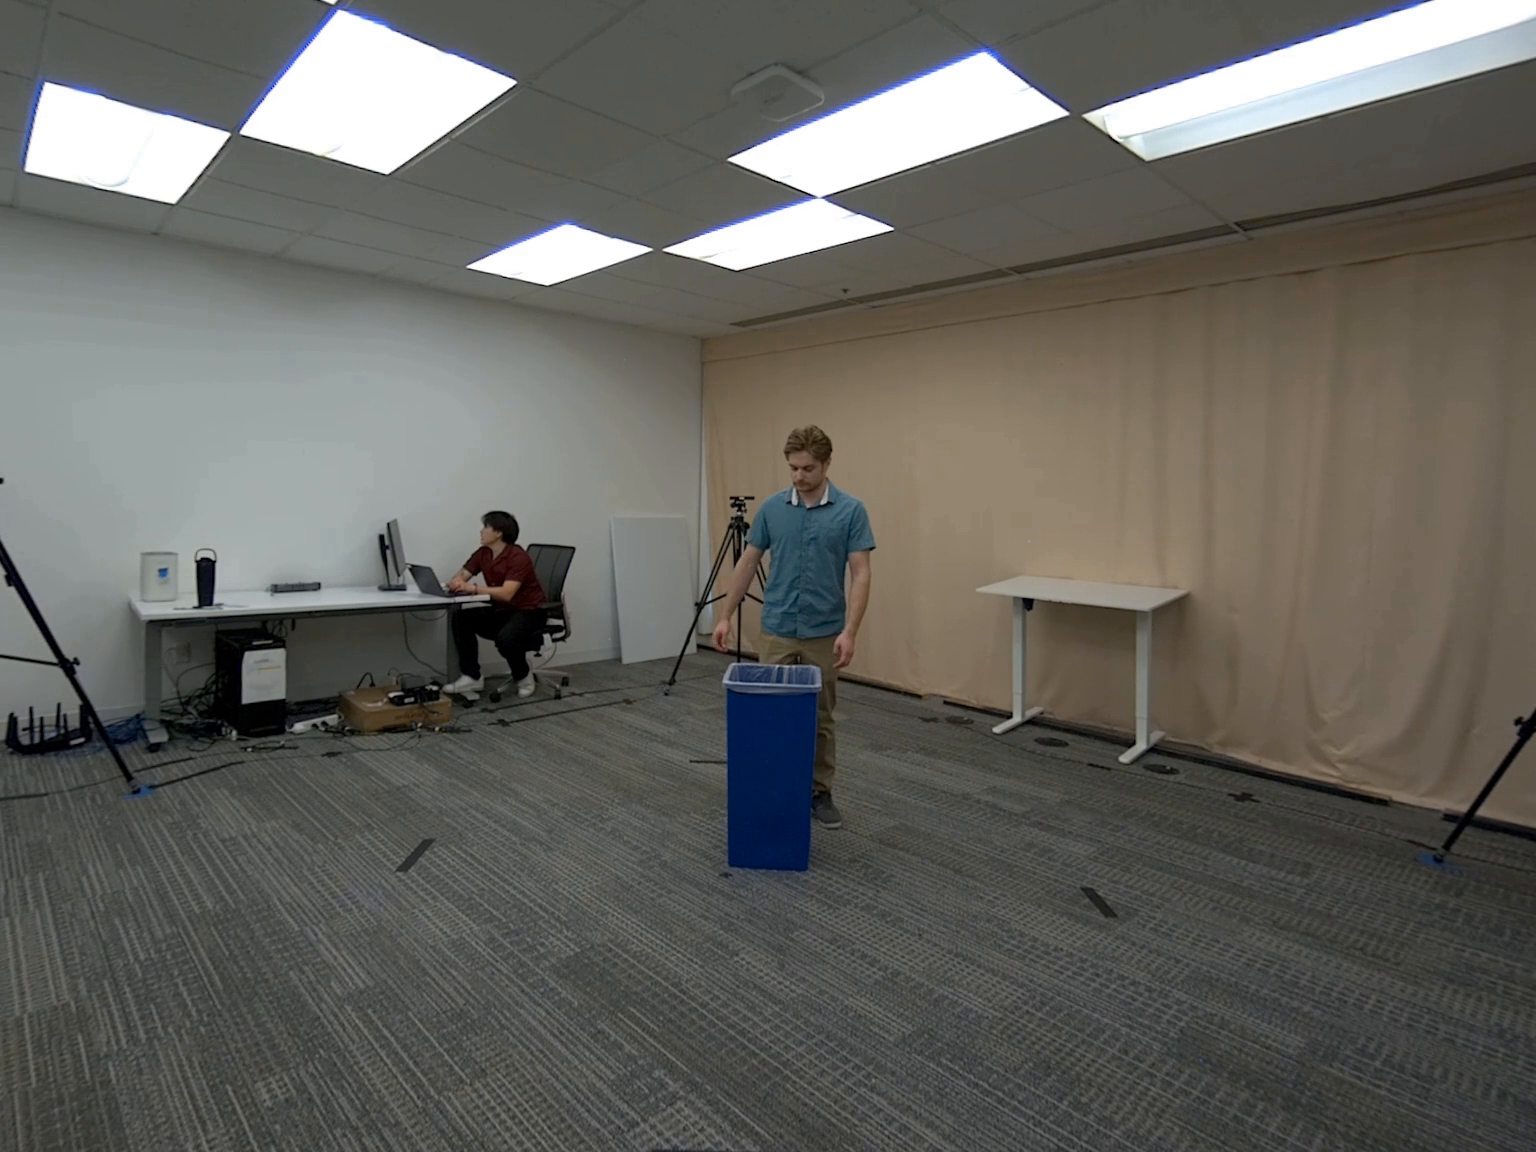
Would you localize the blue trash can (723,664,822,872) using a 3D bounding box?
[{"bbox_3d":[-0.005,0.738,3.289,0.375,0.711,0.378,2,4,3],"label":"blue trash can"}]
